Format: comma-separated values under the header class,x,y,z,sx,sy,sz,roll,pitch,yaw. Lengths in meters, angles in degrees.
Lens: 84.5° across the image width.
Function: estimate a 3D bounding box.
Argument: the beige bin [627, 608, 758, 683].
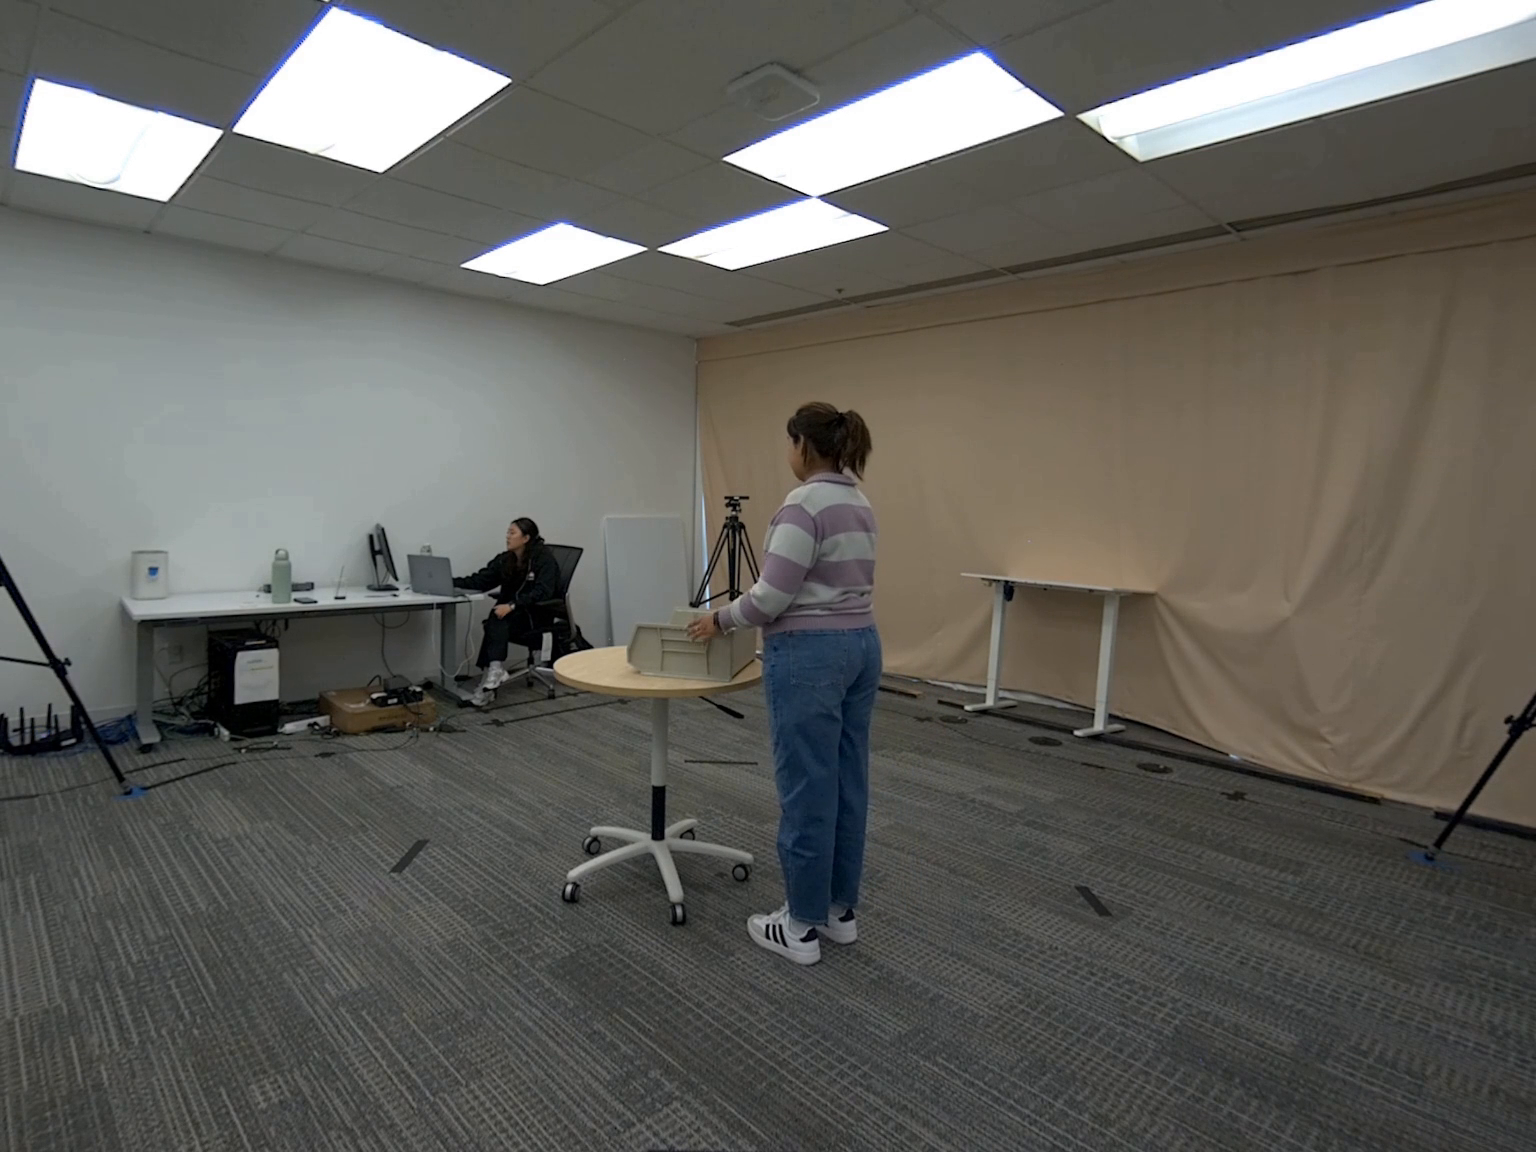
class,x,y,z,sx,sy,sz,roll,pitch,yaw
beige bin,-0.264,0.240,3.013,0.381,0.188,0.420,2,6,11
